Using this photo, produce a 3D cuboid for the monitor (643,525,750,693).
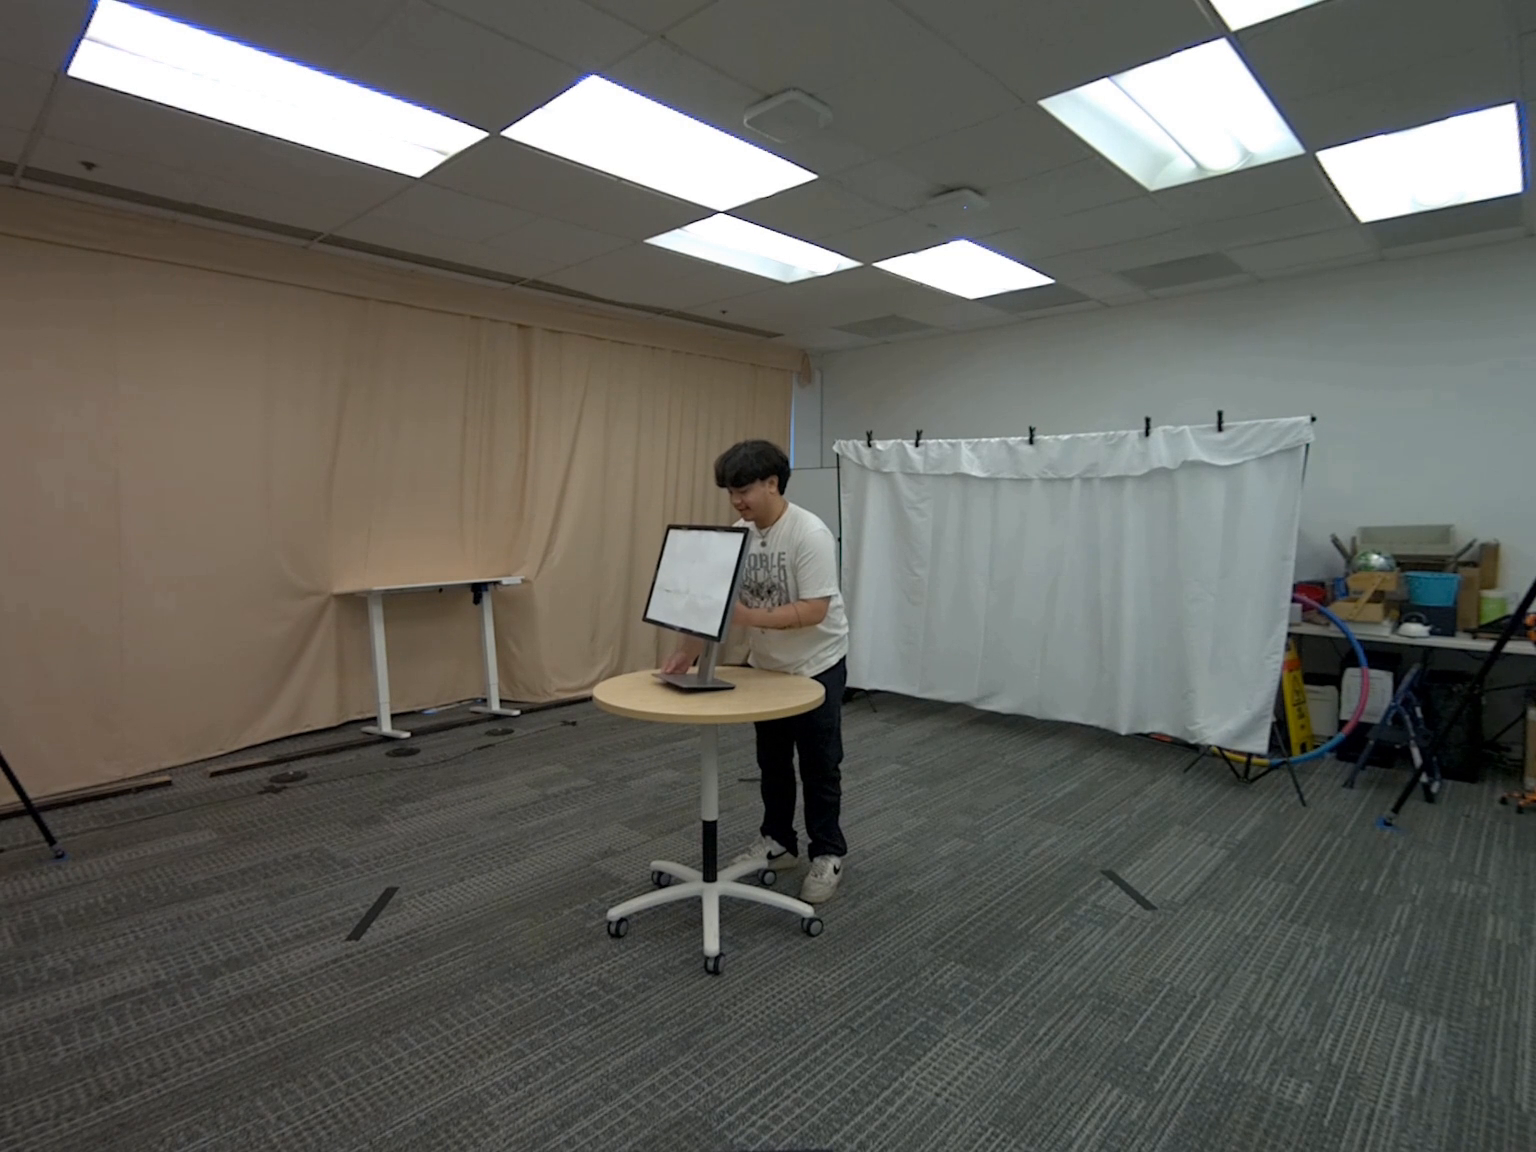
[{"bbox_3d":[-0.200,0.108,2.833,0.203,0.555,0.582,11,-4,-33],"label":"monitor"}]
